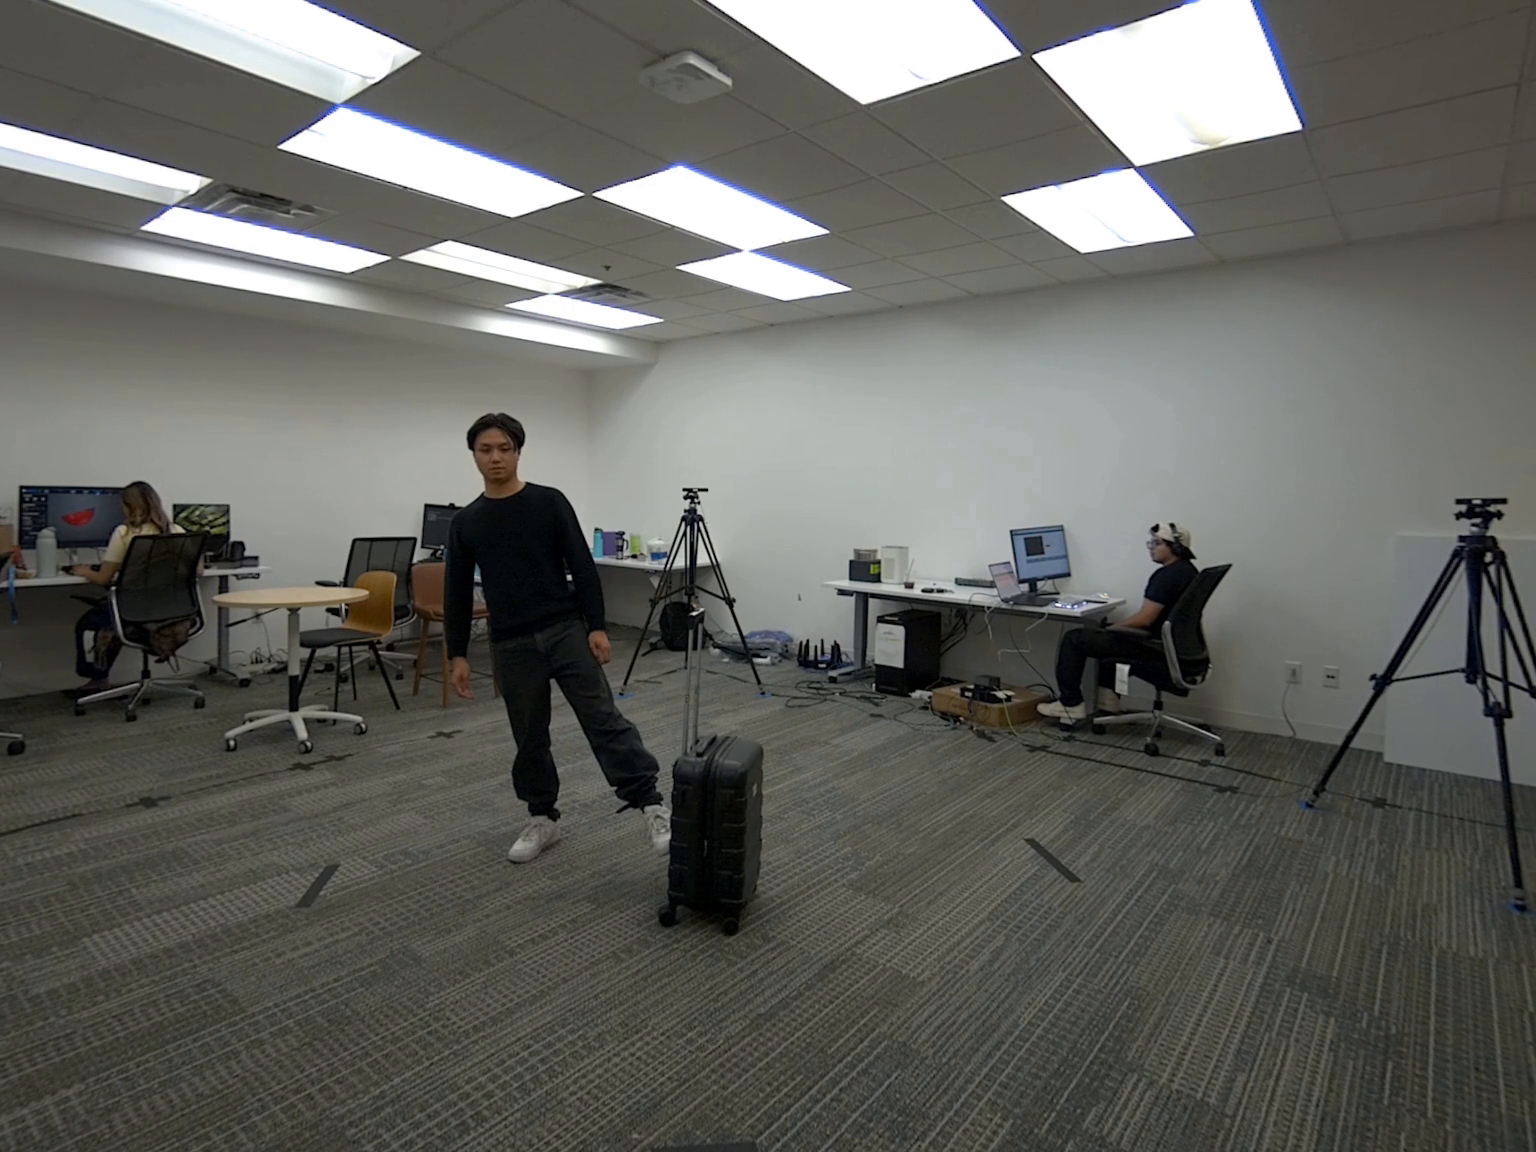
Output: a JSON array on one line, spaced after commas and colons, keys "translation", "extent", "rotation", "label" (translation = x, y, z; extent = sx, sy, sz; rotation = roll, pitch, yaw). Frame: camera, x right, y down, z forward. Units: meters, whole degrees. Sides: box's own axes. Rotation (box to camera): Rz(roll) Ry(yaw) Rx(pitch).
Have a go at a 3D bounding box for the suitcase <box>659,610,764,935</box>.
[{"translation": [-0.164, 0.620, 2.810], "extent": [0.260, 0.976, 0.380], "rotation": [4, 3, 10], "label": "suitcase"}]
